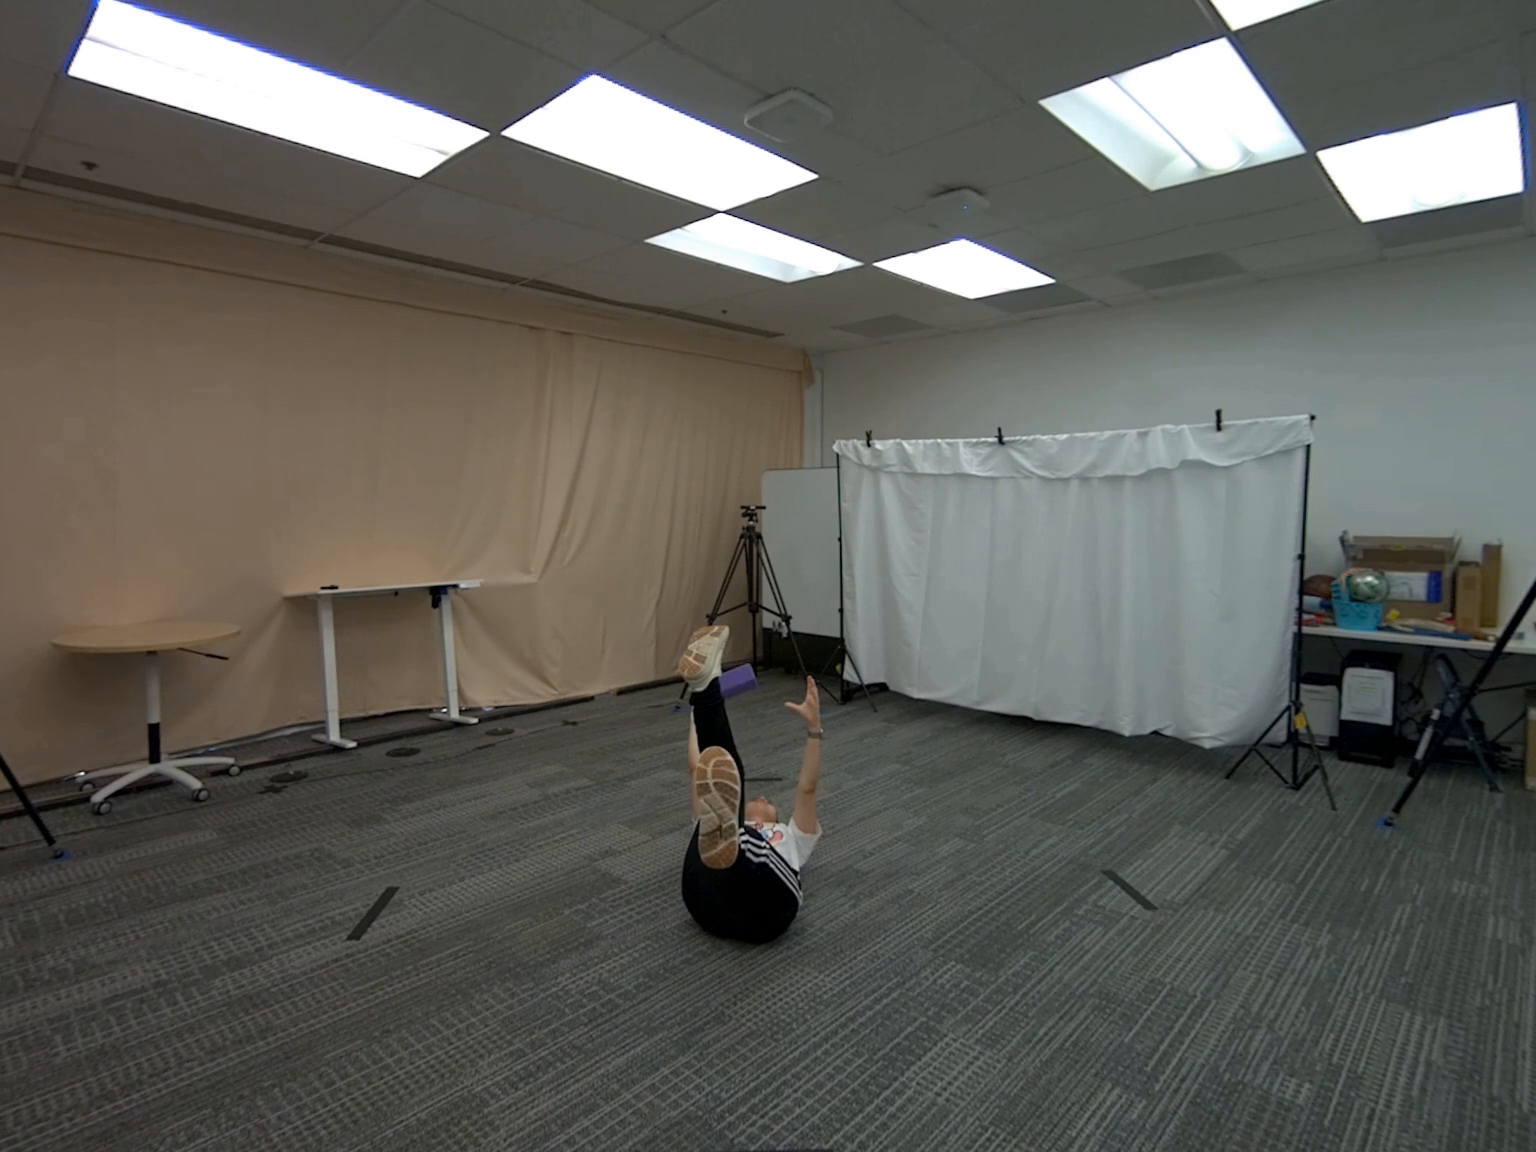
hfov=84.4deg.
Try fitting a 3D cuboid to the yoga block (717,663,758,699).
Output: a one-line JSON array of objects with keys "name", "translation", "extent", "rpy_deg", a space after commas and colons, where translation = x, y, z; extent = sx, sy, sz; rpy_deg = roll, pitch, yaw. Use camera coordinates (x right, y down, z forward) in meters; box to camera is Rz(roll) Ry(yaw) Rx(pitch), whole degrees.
[{"name": "yoga block", "translation": [-0.166, 0.446, 3.445], "extent": [0.229, 0.078, 0.146], "rpy_deg": [-20, -20, -2]}]
